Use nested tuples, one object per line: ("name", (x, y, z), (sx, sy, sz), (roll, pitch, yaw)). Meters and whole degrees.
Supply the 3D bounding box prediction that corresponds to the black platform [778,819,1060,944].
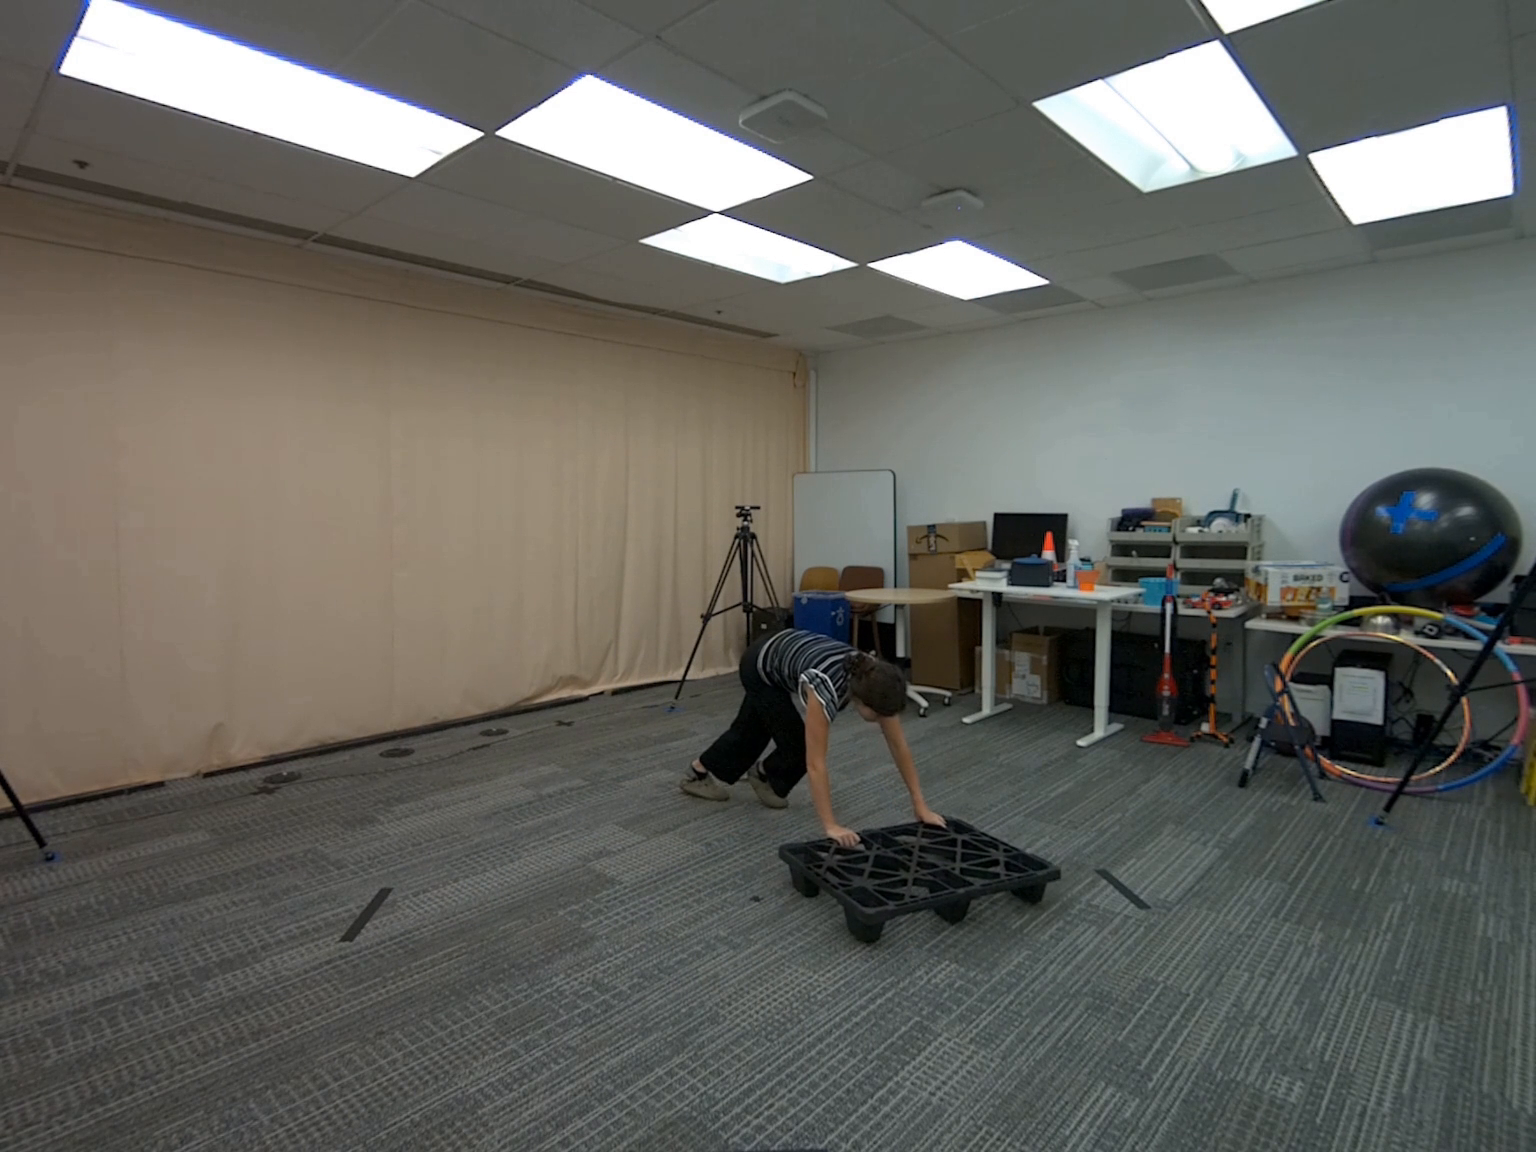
("black platform", (0.533, 1.070, 3.002), (0.786, 0.143, 0.621), (-2, 4, -25))
